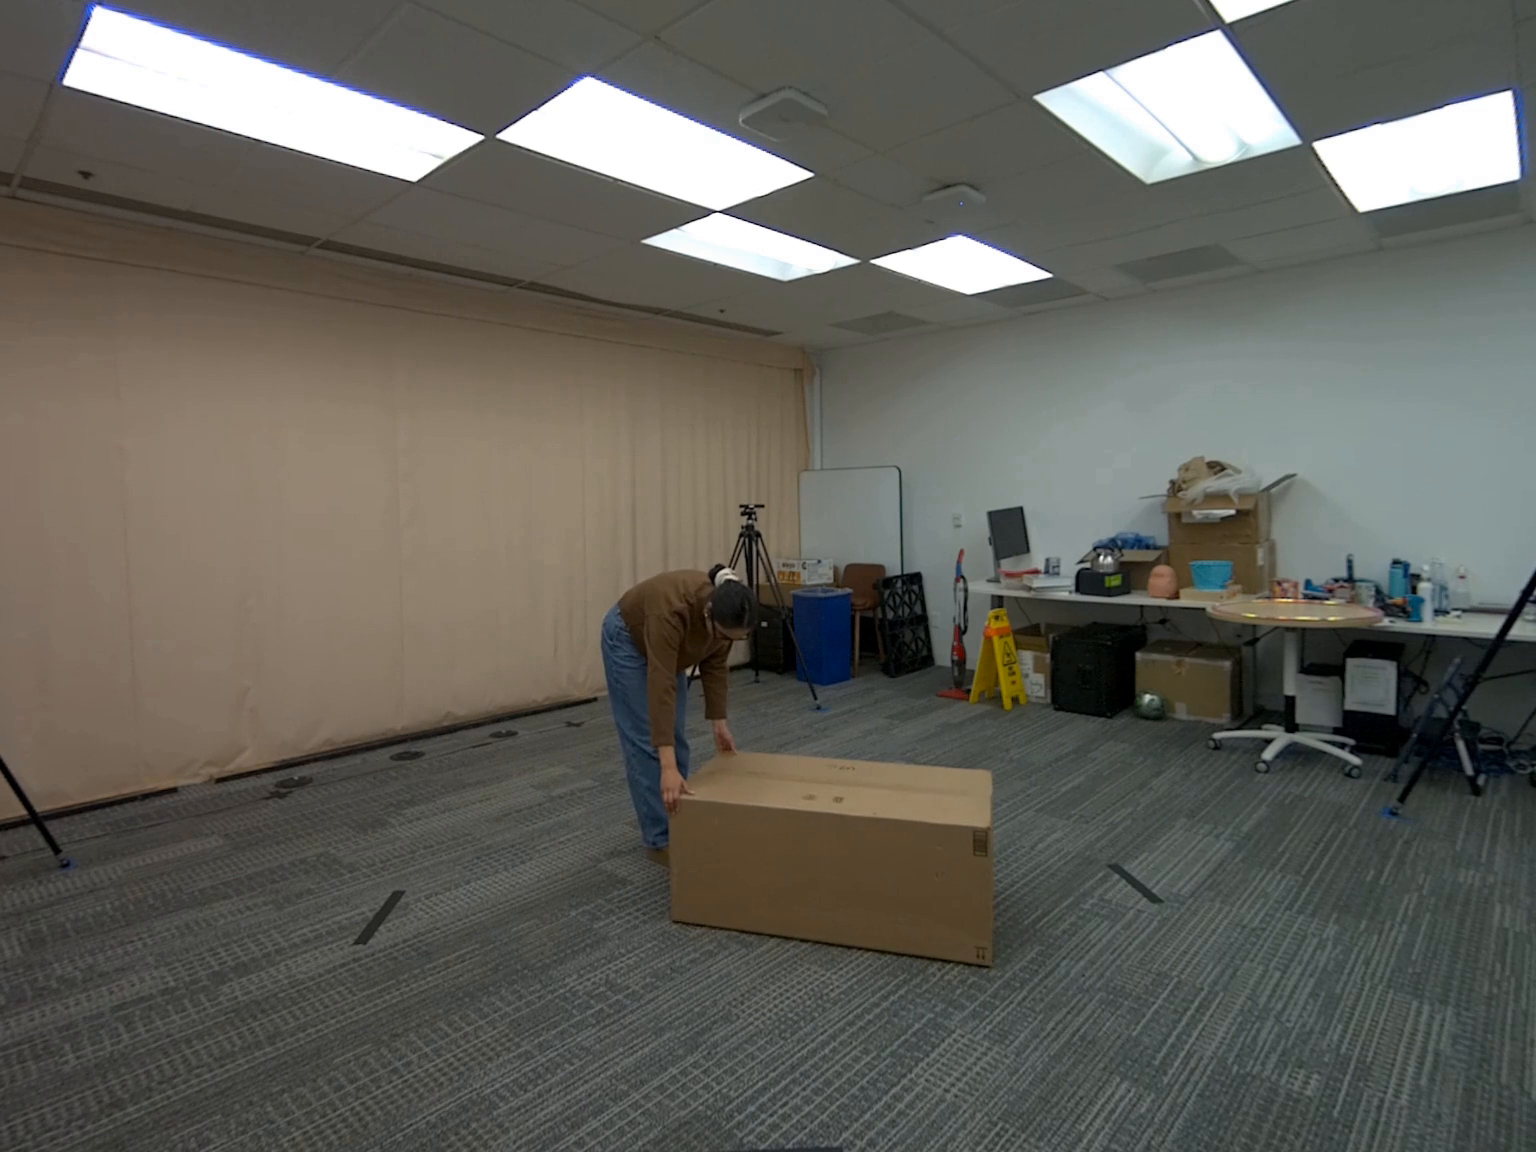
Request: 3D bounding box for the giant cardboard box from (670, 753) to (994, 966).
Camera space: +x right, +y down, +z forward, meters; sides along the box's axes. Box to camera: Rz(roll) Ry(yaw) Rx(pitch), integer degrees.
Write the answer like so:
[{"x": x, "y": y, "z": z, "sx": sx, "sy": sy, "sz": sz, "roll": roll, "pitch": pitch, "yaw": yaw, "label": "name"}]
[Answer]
[{"x": 0.249, "y": 0.927, "z": 2.917, "sx": 1.047, "sy": 0.446, "sz": 0.573, "roll": 1, "pitch": 3, "yaw": 18, "label": "giant cardboard box"}]
